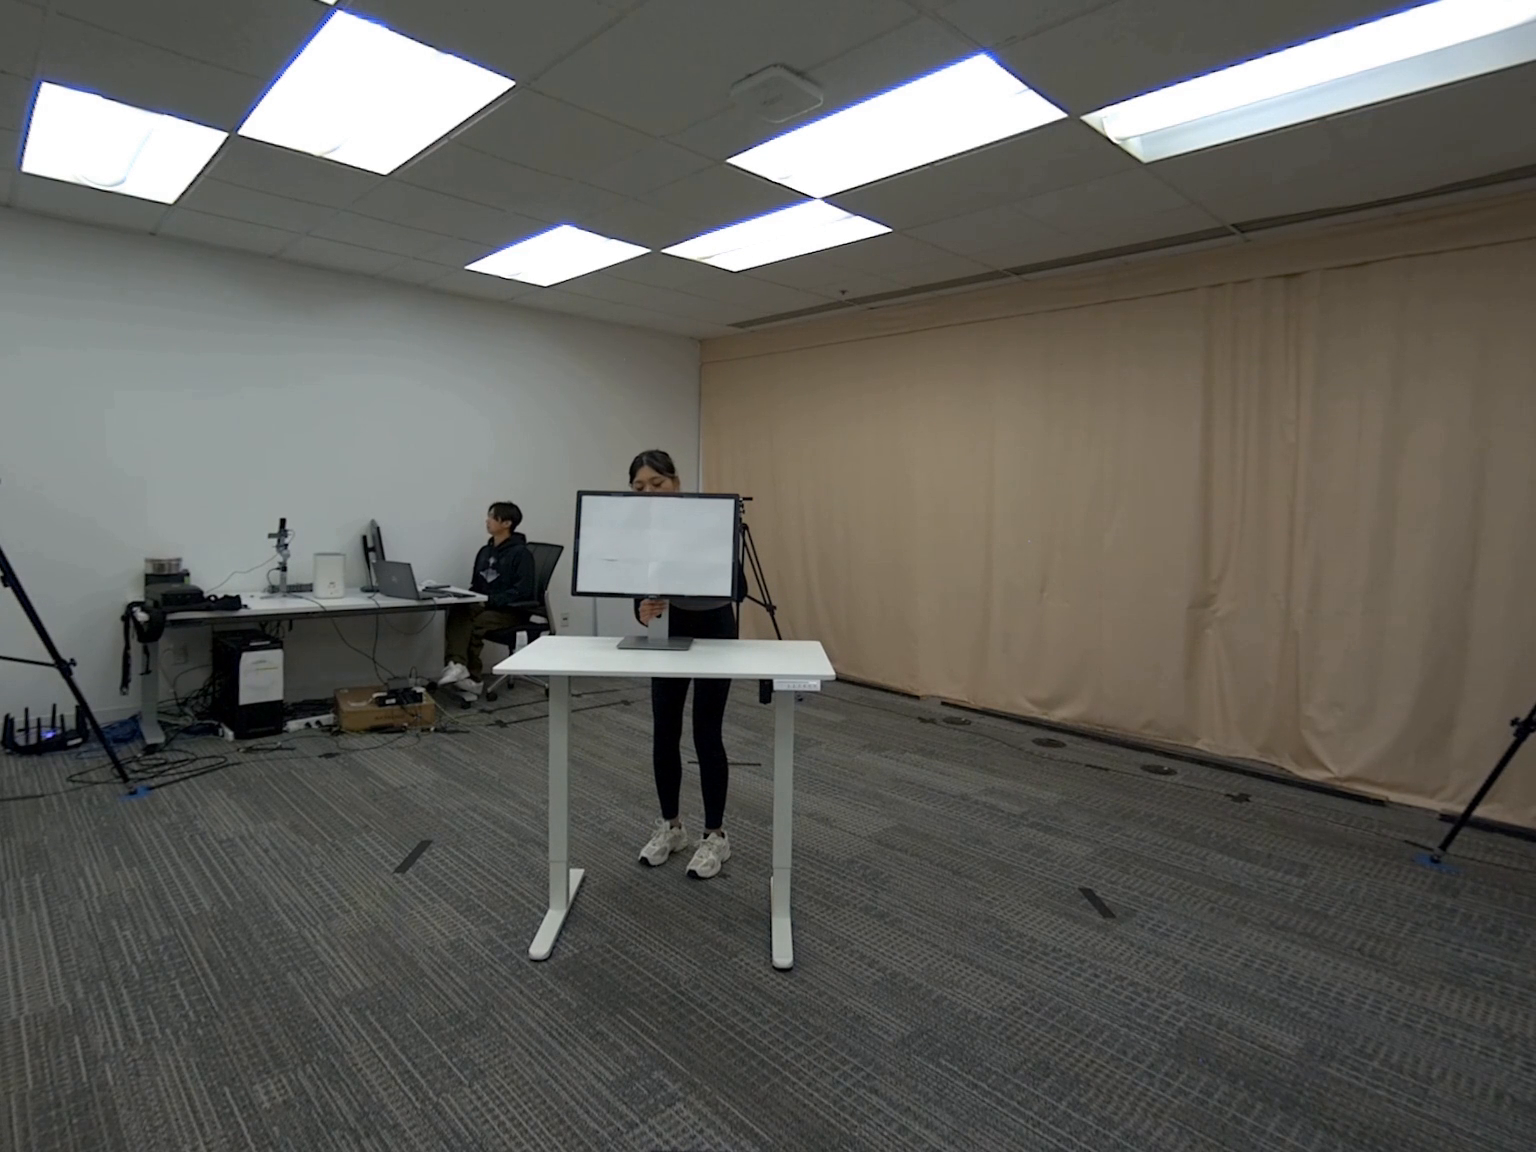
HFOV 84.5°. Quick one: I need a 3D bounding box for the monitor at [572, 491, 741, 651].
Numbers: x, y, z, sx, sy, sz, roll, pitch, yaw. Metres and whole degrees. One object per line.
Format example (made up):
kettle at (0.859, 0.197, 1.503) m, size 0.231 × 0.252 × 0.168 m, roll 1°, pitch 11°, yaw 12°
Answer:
monitor at (-0.382, -0.019, 2.887) m, size 0.540 × 0.521 × 0.187 m, roll 1°, pitch 4°, yaw 2°
